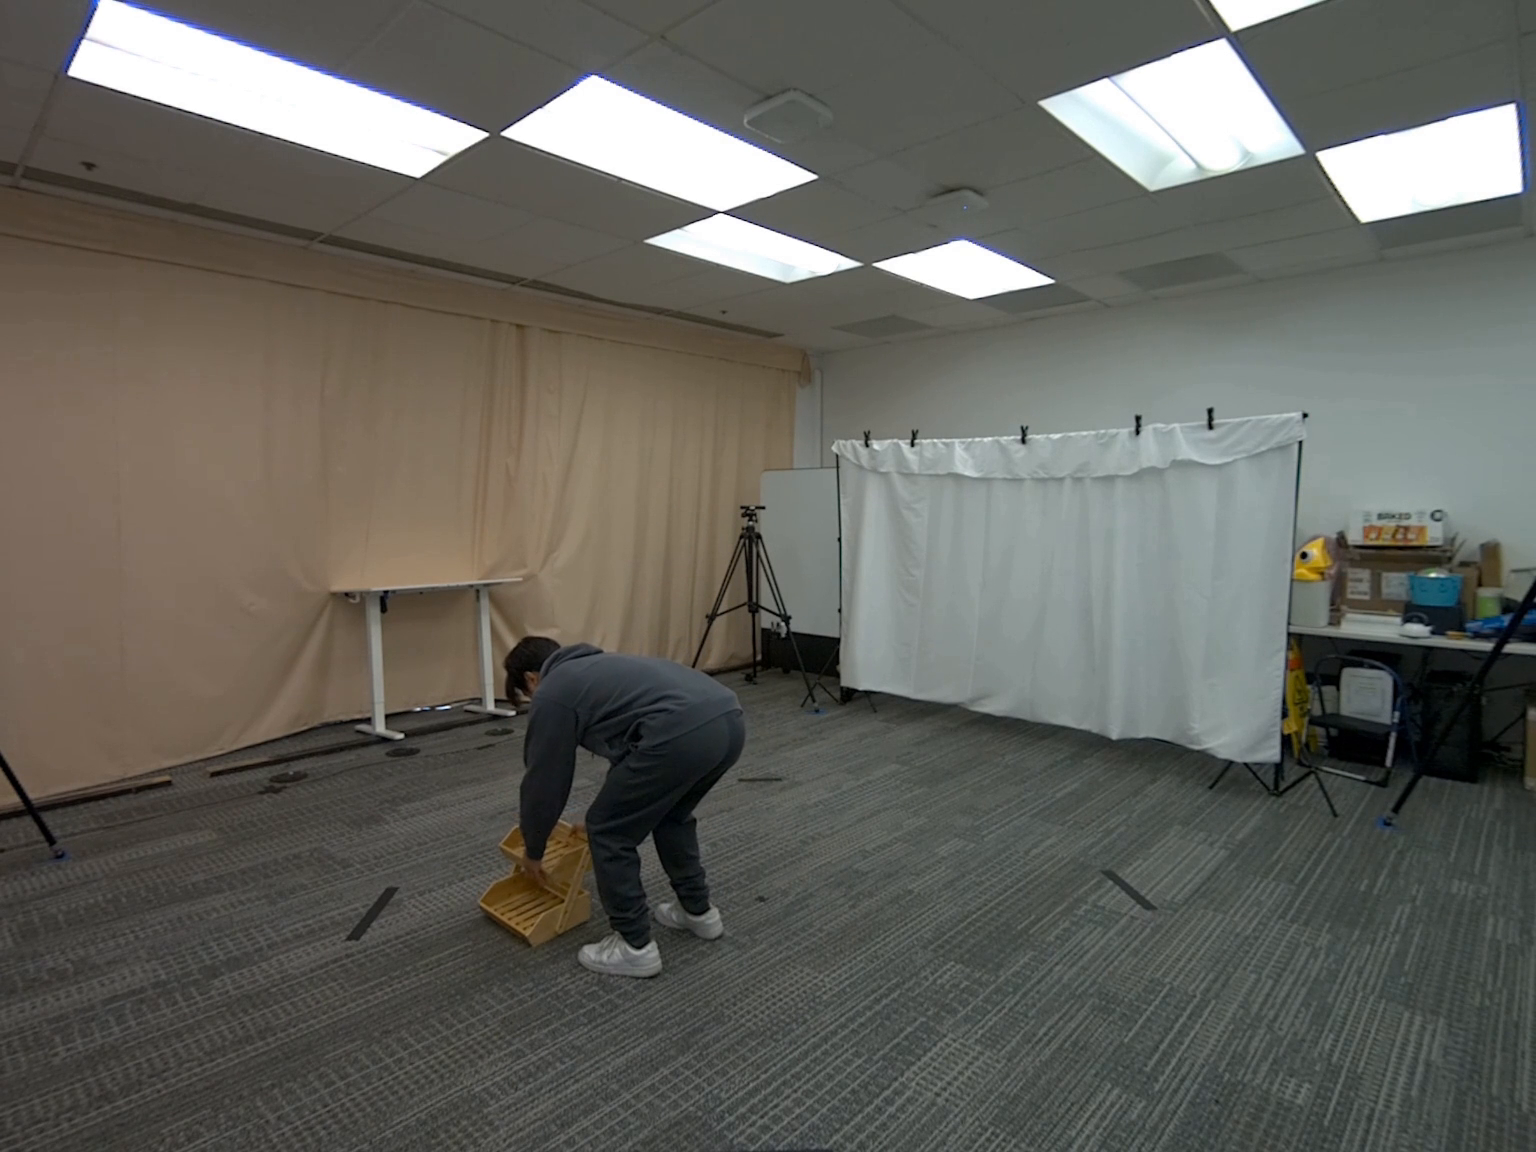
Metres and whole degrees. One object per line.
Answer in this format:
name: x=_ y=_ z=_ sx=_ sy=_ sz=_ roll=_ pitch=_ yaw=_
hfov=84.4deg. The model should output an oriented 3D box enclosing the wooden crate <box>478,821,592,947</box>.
wooden crate: x=-0.773 y=1.011 z=2.856 sx=0.335 sy=0.272 sz=0.293 roll=5 pitch=8 yaw=42
